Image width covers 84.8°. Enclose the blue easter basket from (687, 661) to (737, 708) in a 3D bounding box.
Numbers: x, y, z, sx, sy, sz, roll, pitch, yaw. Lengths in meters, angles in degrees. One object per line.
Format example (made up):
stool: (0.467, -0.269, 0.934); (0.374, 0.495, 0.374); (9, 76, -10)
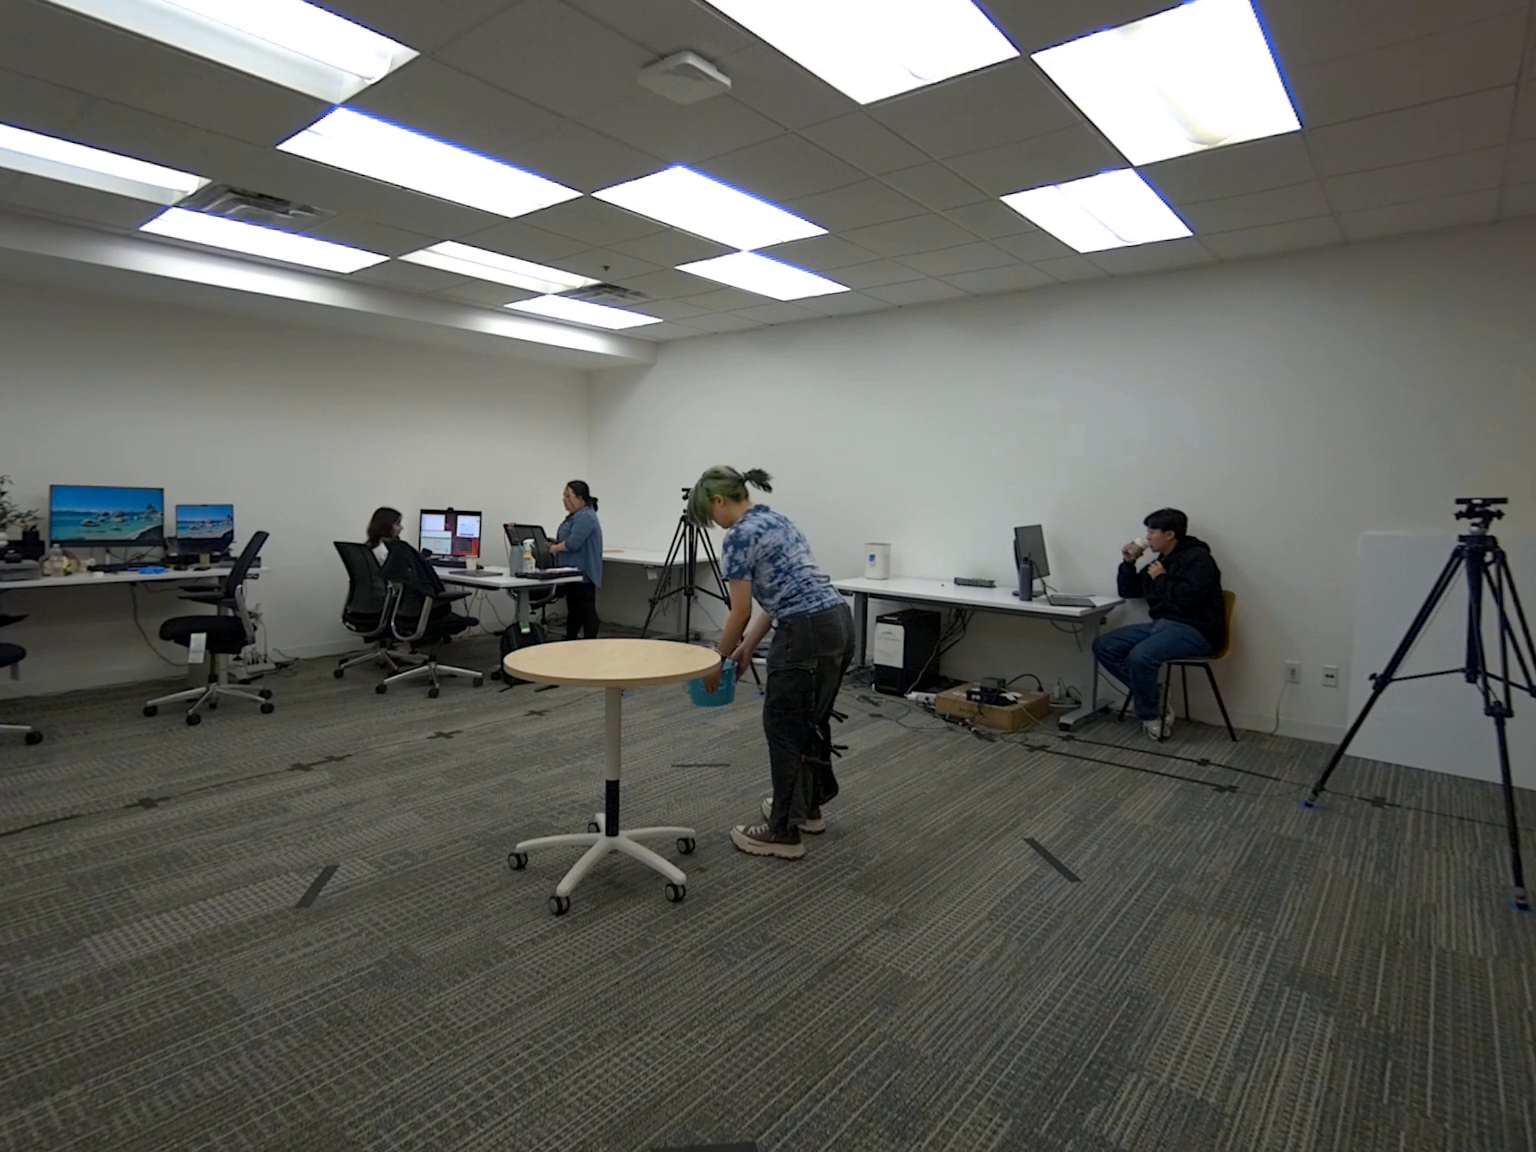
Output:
blue easter basket: (-0.247, 0.448, 3.570); (0.243, 0.155, 0.245); (-5, 5, -2)
